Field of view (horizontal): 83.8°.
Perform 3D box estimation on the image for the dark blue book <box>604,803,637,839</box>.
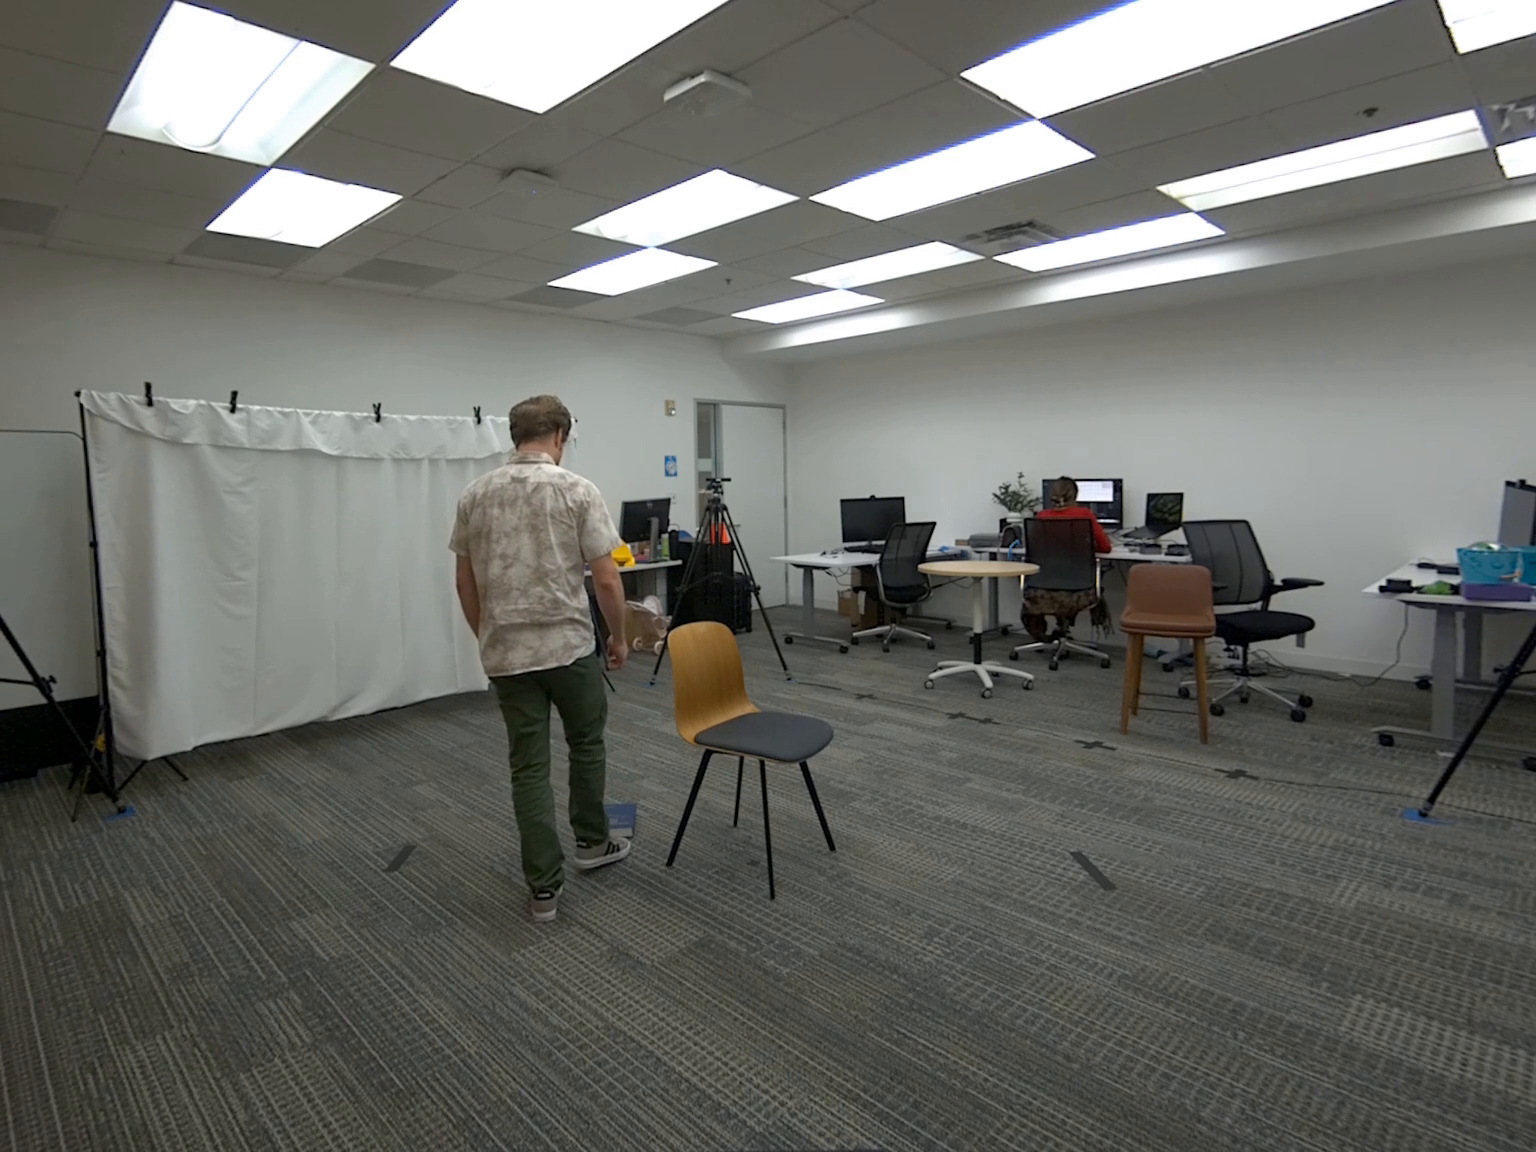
[{"bbox_3d":[-0.620,0.990,3.465,0.163,0.045,0.247,-2,7,-5],"label":"dark blue book"}]
